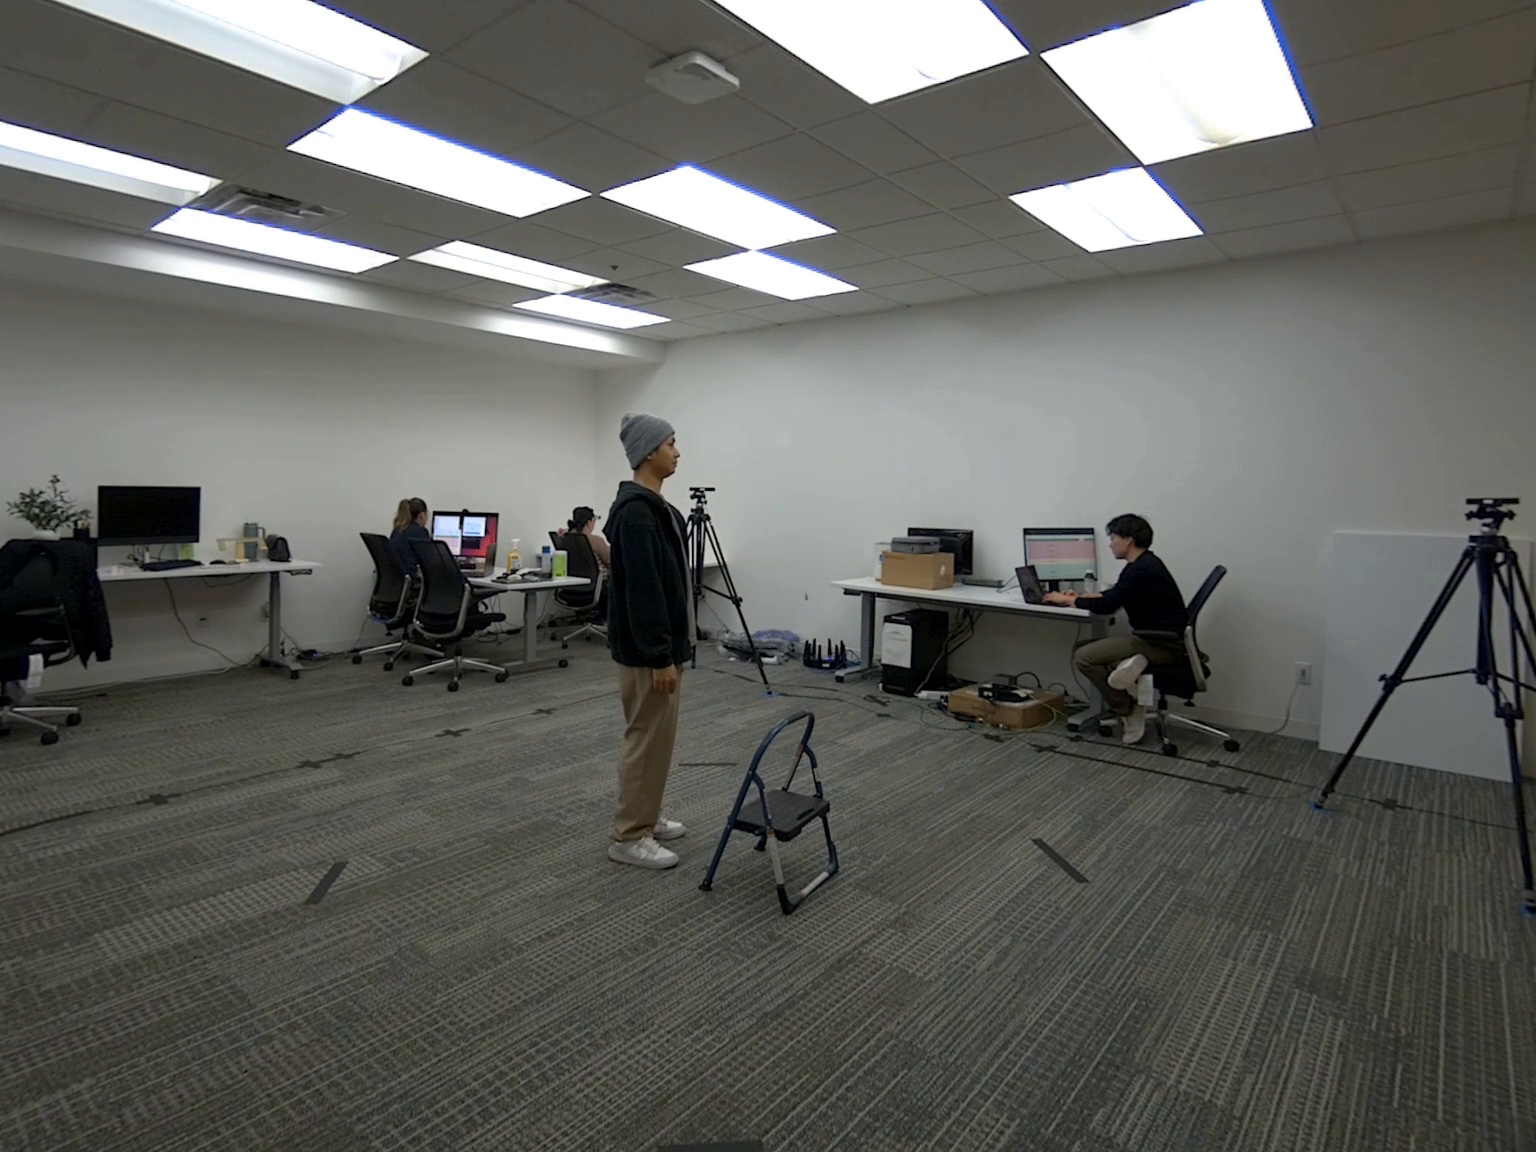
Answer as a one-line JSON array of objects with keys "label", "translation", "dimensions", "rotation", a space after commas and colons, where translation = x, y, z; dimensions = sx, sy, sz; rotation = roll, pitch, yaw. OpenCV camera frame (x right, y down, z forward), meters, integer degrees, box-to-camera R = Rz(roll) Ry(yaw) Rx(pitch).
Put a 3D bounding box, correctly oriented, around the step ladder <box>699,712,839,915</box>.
[{"label": "step ladder", "translation": [0.013, 0.777, 3.017], "dimensions": [0.359, 0.604, 0.420], "rotation": [3, 4, 29]}]
